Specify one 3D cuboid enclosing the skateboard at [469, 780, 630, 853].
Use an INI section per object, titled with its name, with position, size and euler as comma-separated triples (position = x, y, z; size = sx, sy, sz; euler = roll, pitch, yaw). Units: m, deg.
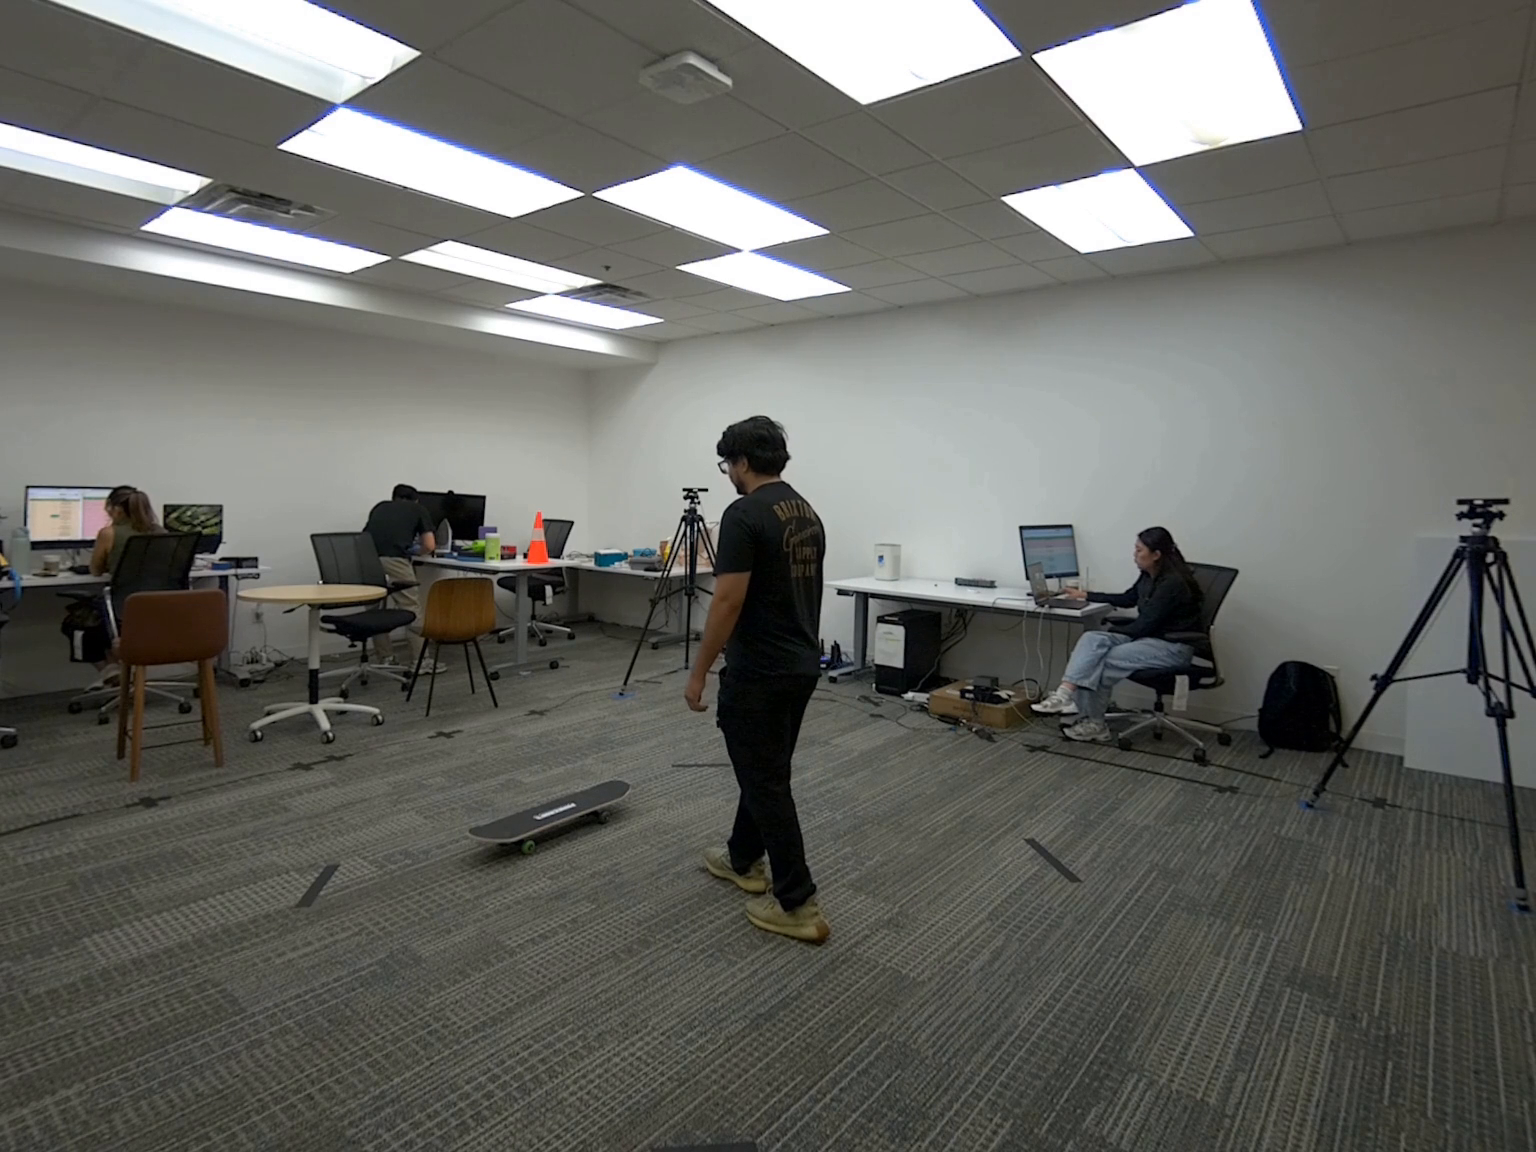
[skateboard]
position = -0.871, 0.978, 3.422
size = 0.200, 0.110, 0.763
euler = 3, 6, 36
